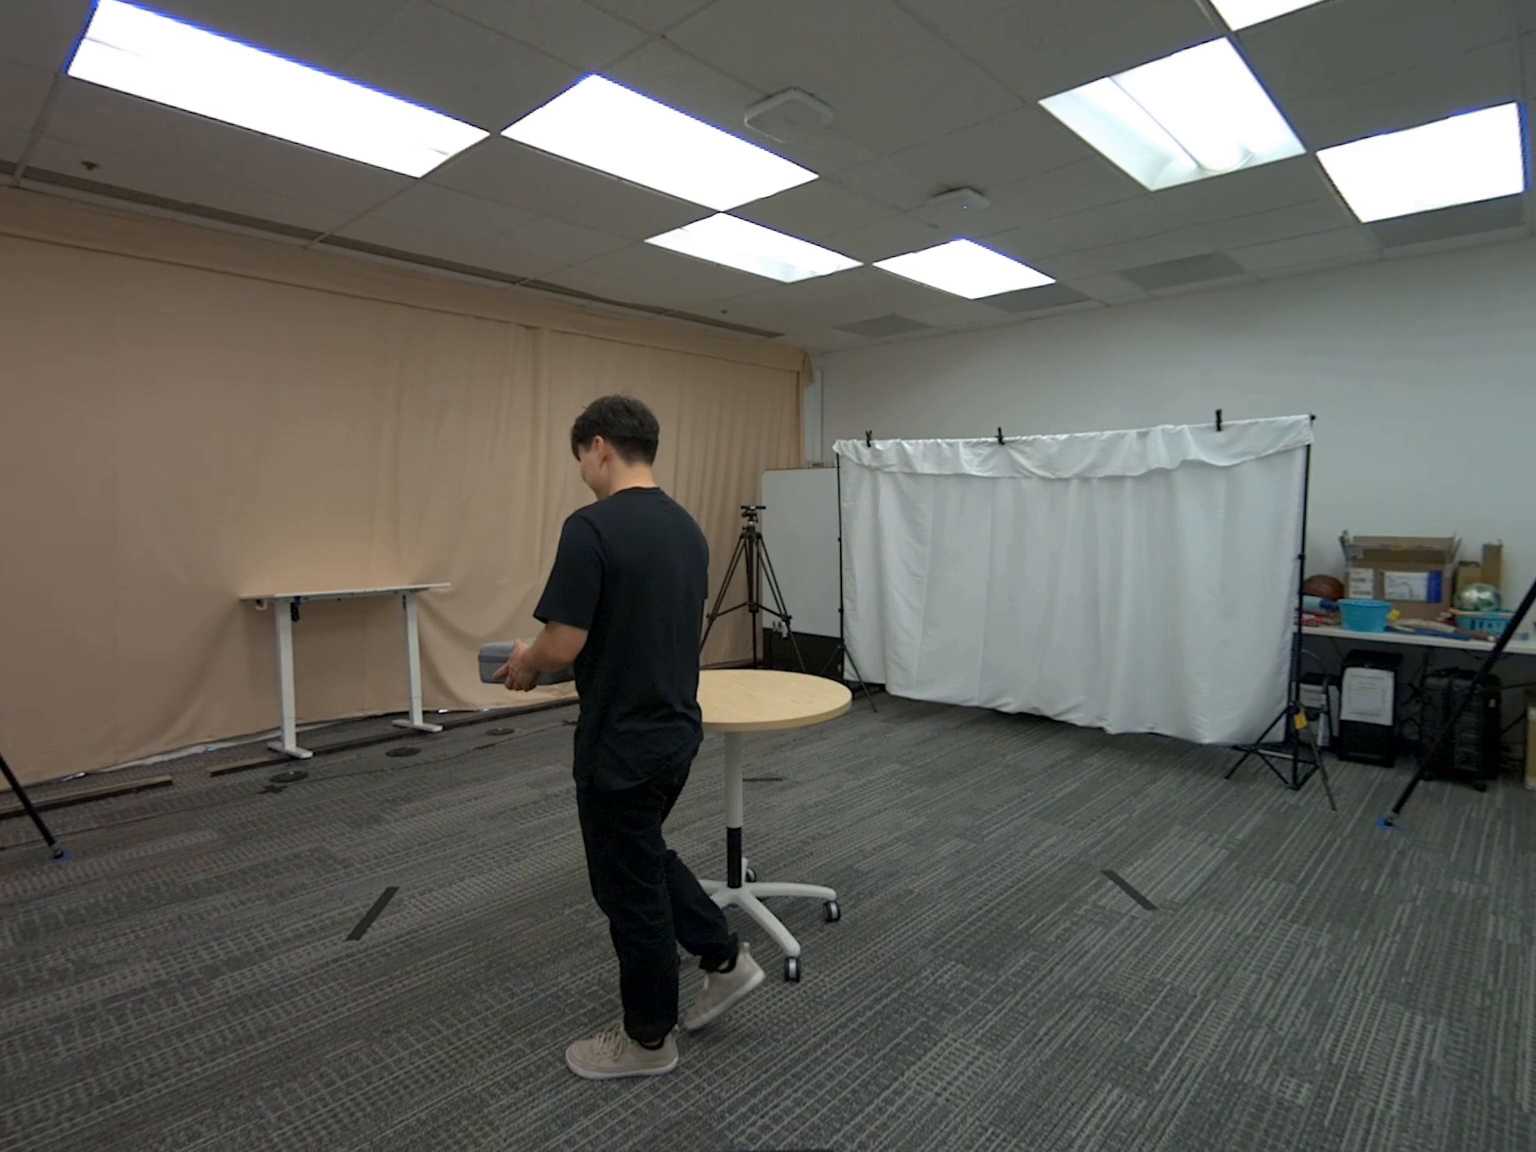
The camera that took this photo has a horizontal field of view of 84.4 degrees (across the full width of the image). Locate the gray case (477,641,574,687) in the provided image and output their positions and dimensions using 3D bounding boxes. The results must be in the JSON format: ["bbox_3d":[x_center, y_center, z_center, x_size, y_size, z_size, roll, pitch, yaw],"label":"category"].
[{"bbox_3d":[-0.604,0.227,2.212,0.266,0.104,0.252,0,3,20],"label":"gray case"}]
